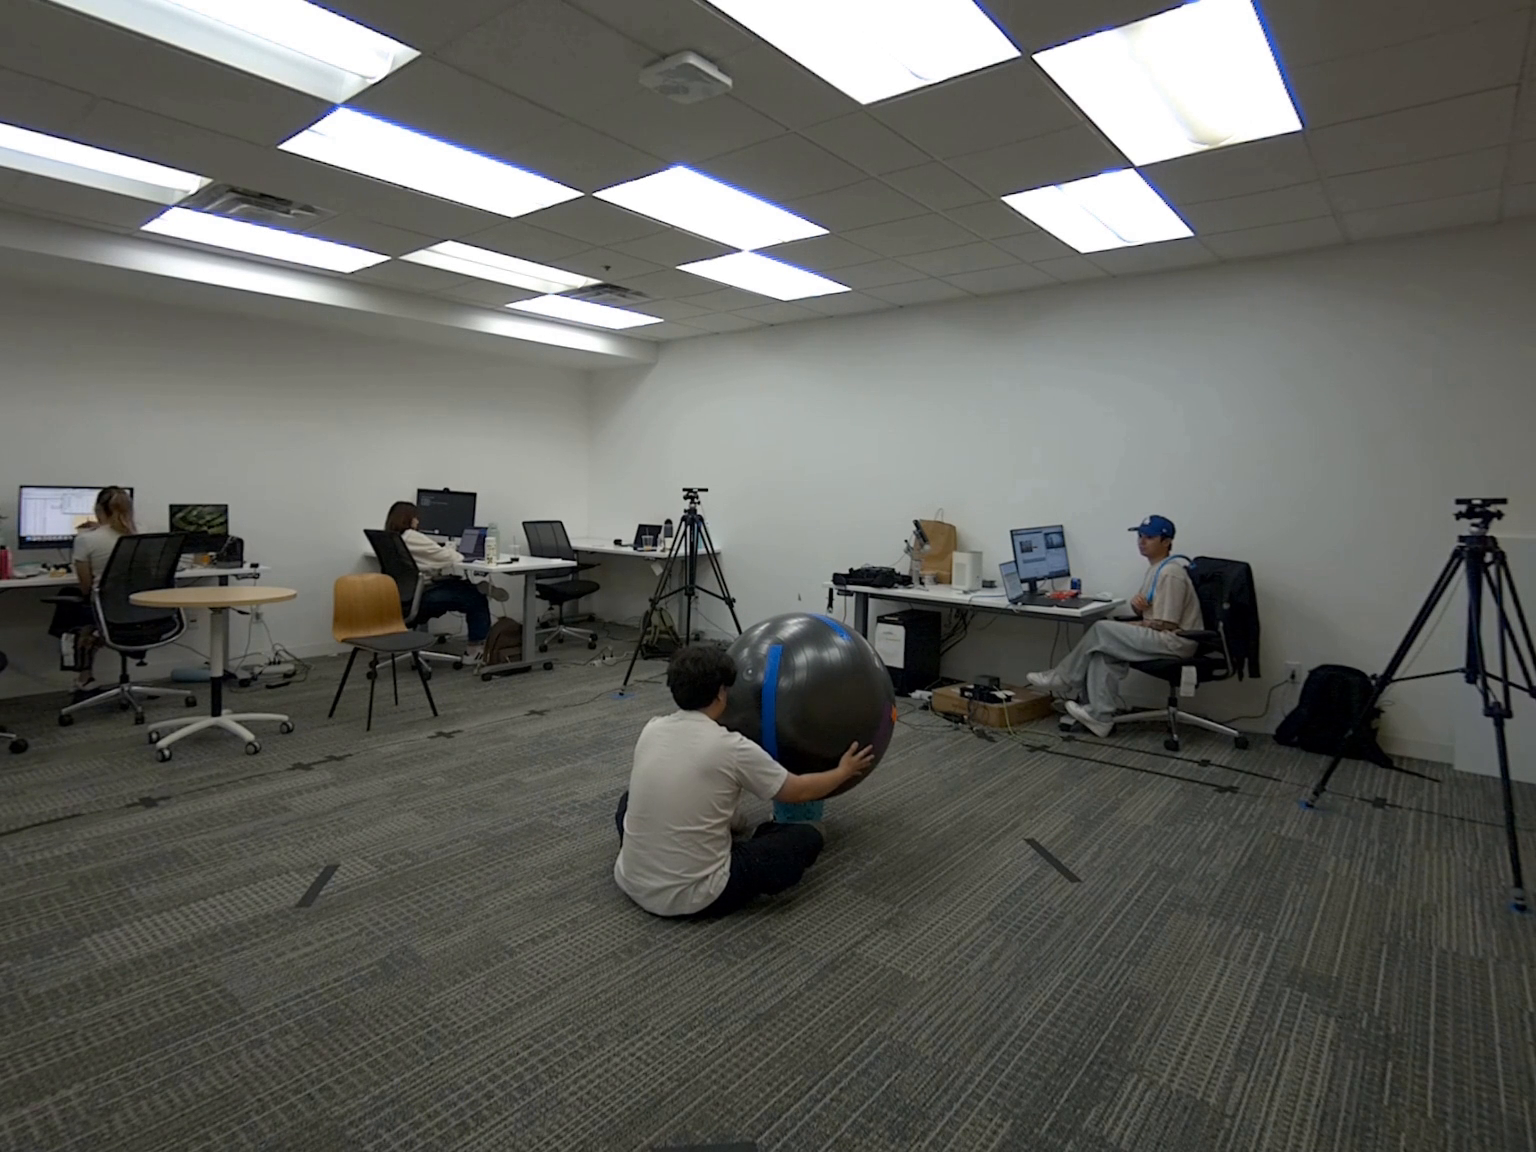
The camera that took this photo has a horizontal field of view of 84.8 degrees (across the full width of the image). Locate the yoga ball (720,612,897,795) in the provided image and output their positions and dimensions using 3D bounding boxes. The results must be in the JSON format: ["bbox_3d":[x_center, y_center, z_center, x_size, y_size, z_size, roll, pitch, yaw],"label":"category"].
[{"bbox_3d":[0.130,0.527,3.485,0.757,0.755,0.762,1,4,-2],"label":"yoga ball"}]
